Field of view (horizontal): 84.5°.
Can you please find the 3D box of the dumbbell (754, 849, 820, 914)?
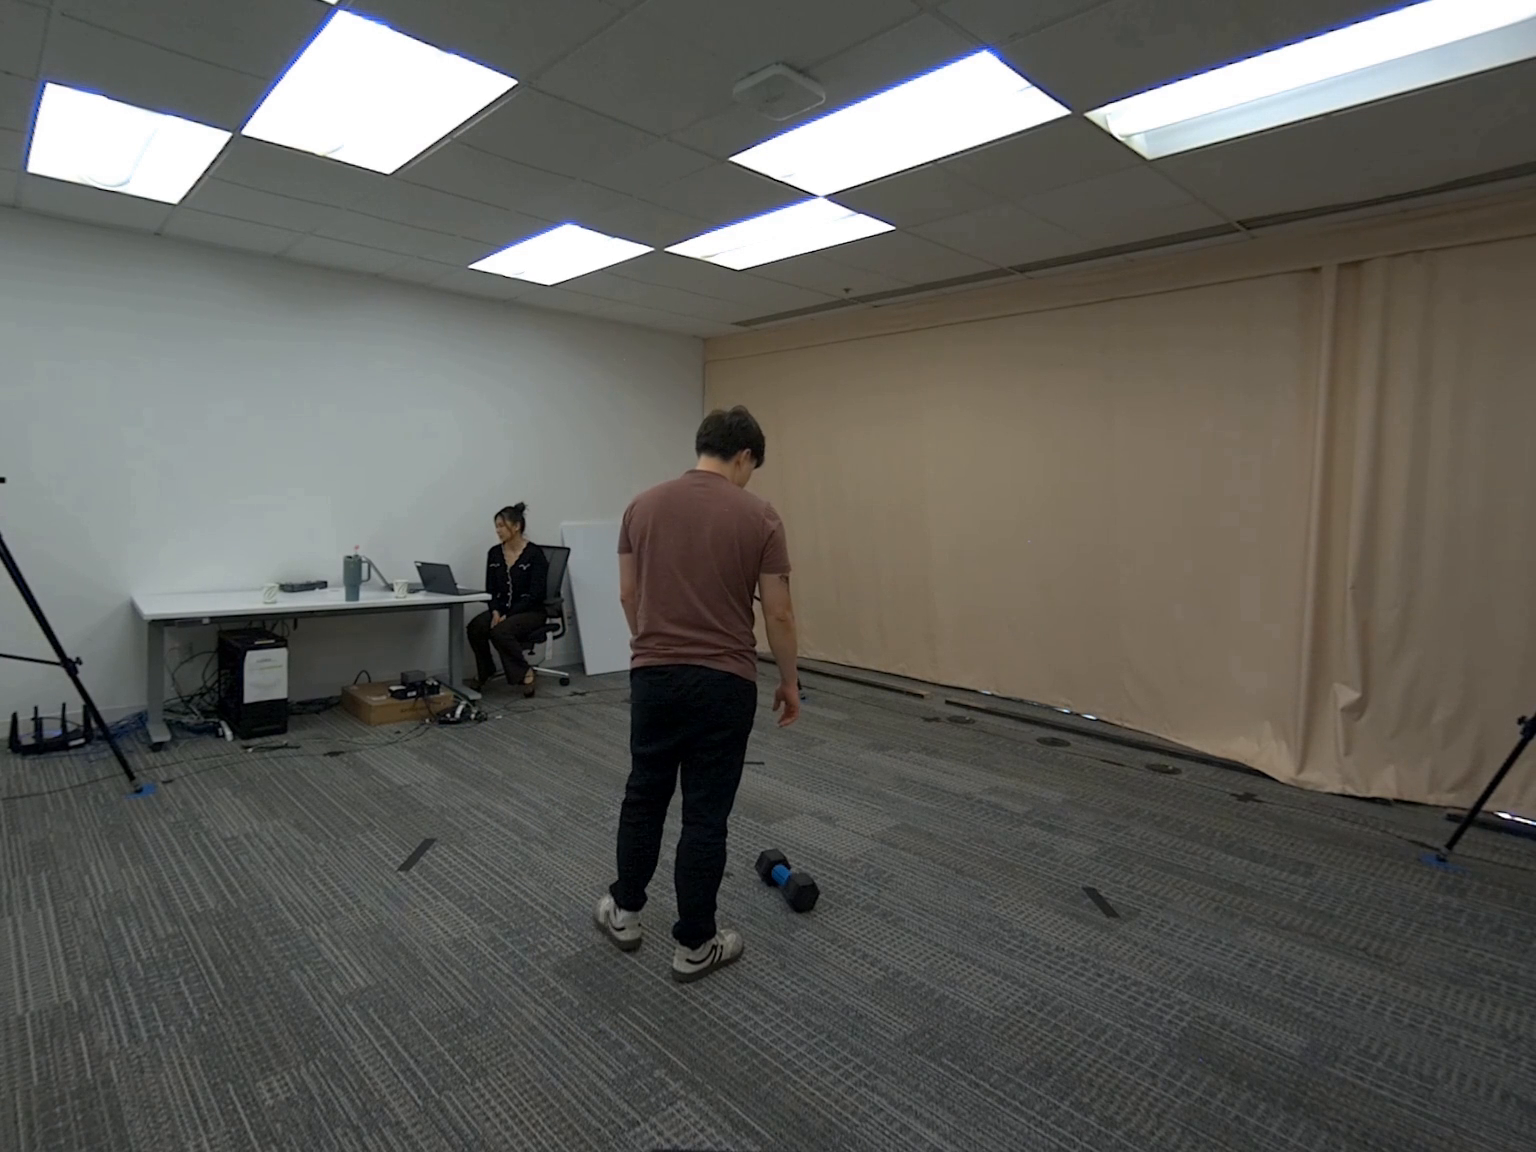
[{"bbox_3d":[0.058,1.065,2.951,0.106,0.123,0.299,33,-9,-24],"label":"dumbbell"}]
